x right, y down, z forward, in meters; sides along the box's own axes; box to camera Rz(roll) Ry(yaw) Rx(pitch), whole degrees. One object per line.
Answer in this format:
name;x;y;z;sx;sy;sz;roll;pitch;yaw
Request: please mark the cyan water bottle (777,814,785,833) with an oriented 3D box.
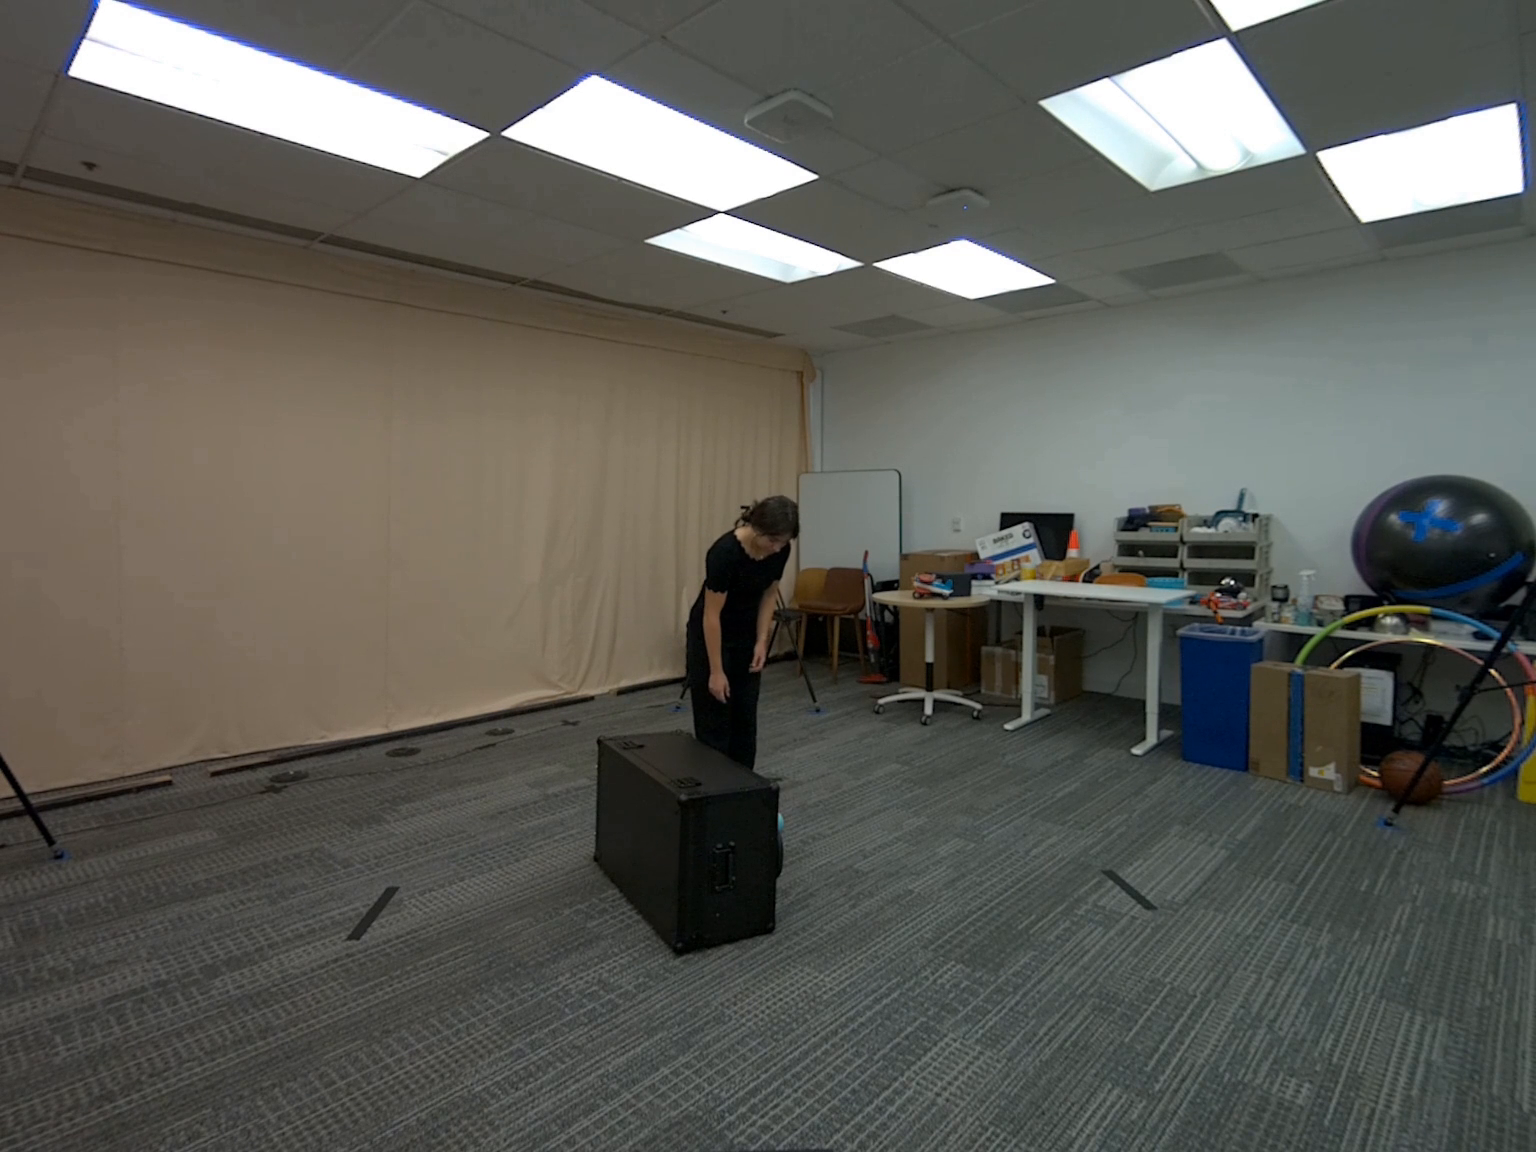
cyan water bottle;-0.067;1.050;3.512;0.275;0.092;0.095;-3;5;-34
